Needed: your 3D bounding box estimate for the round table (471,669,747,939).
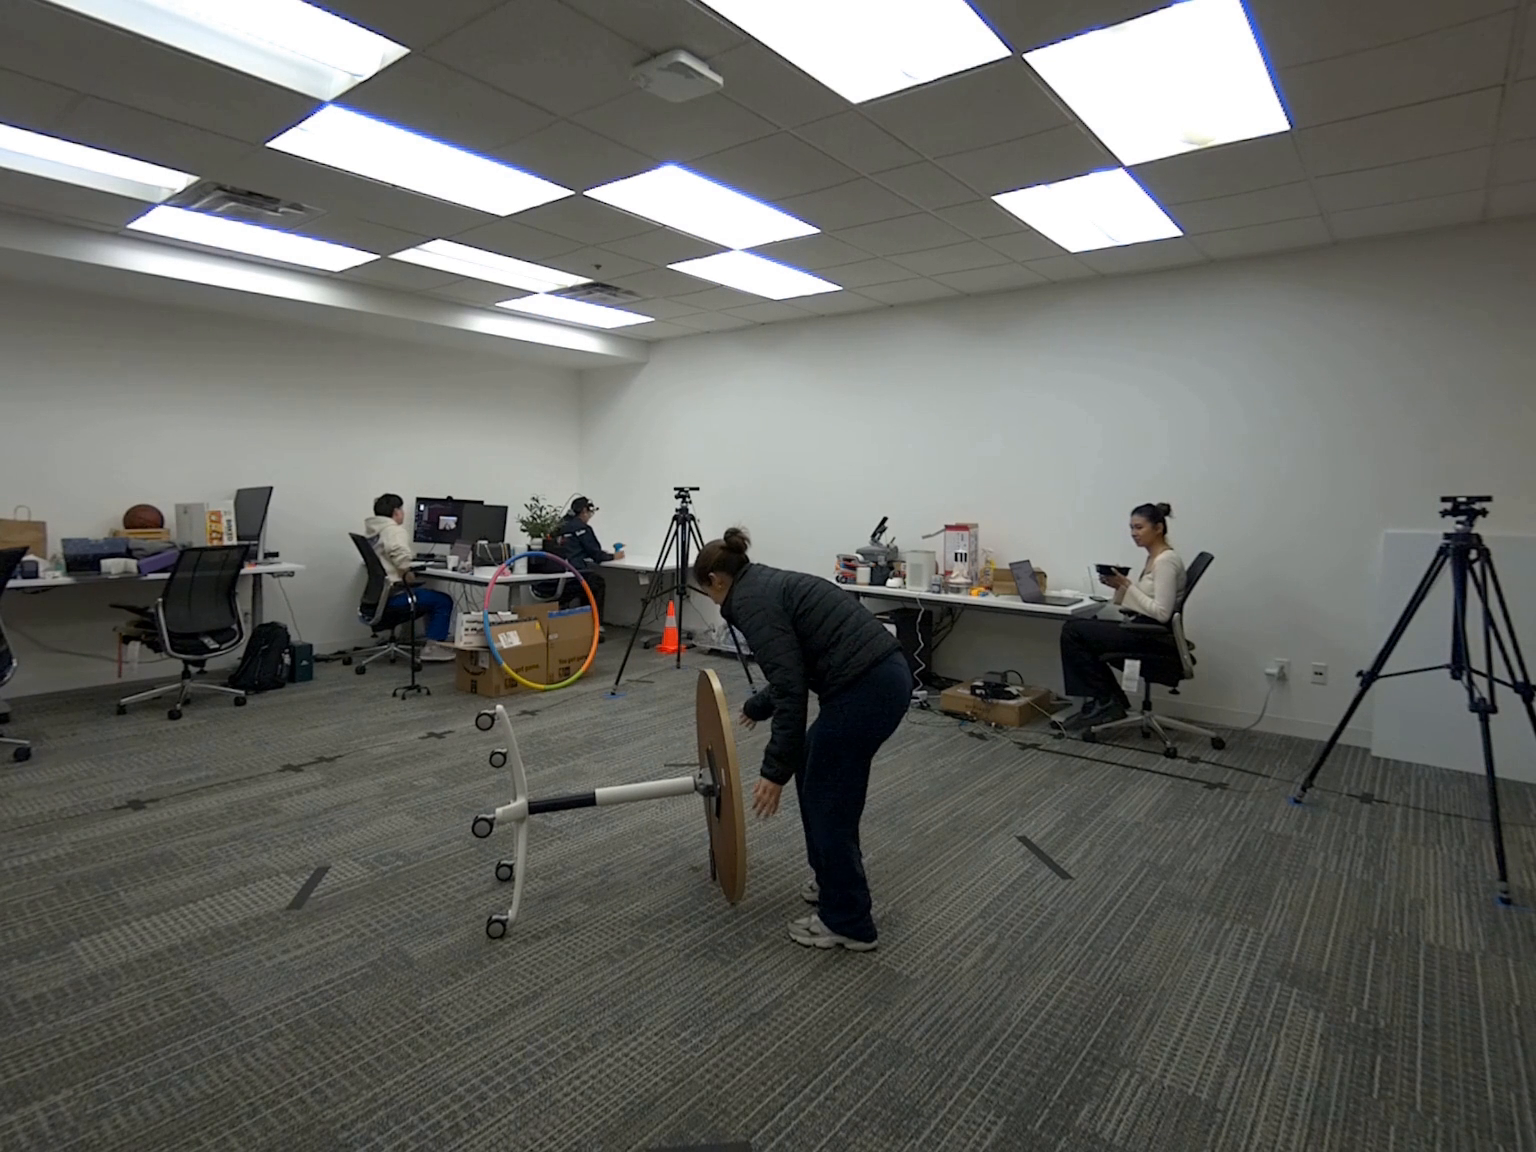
[{"bbox_3d":[-0.536,0.747,2.883,0.780,0.782,0.795,-5,5,-9],"label":"round table"}]
